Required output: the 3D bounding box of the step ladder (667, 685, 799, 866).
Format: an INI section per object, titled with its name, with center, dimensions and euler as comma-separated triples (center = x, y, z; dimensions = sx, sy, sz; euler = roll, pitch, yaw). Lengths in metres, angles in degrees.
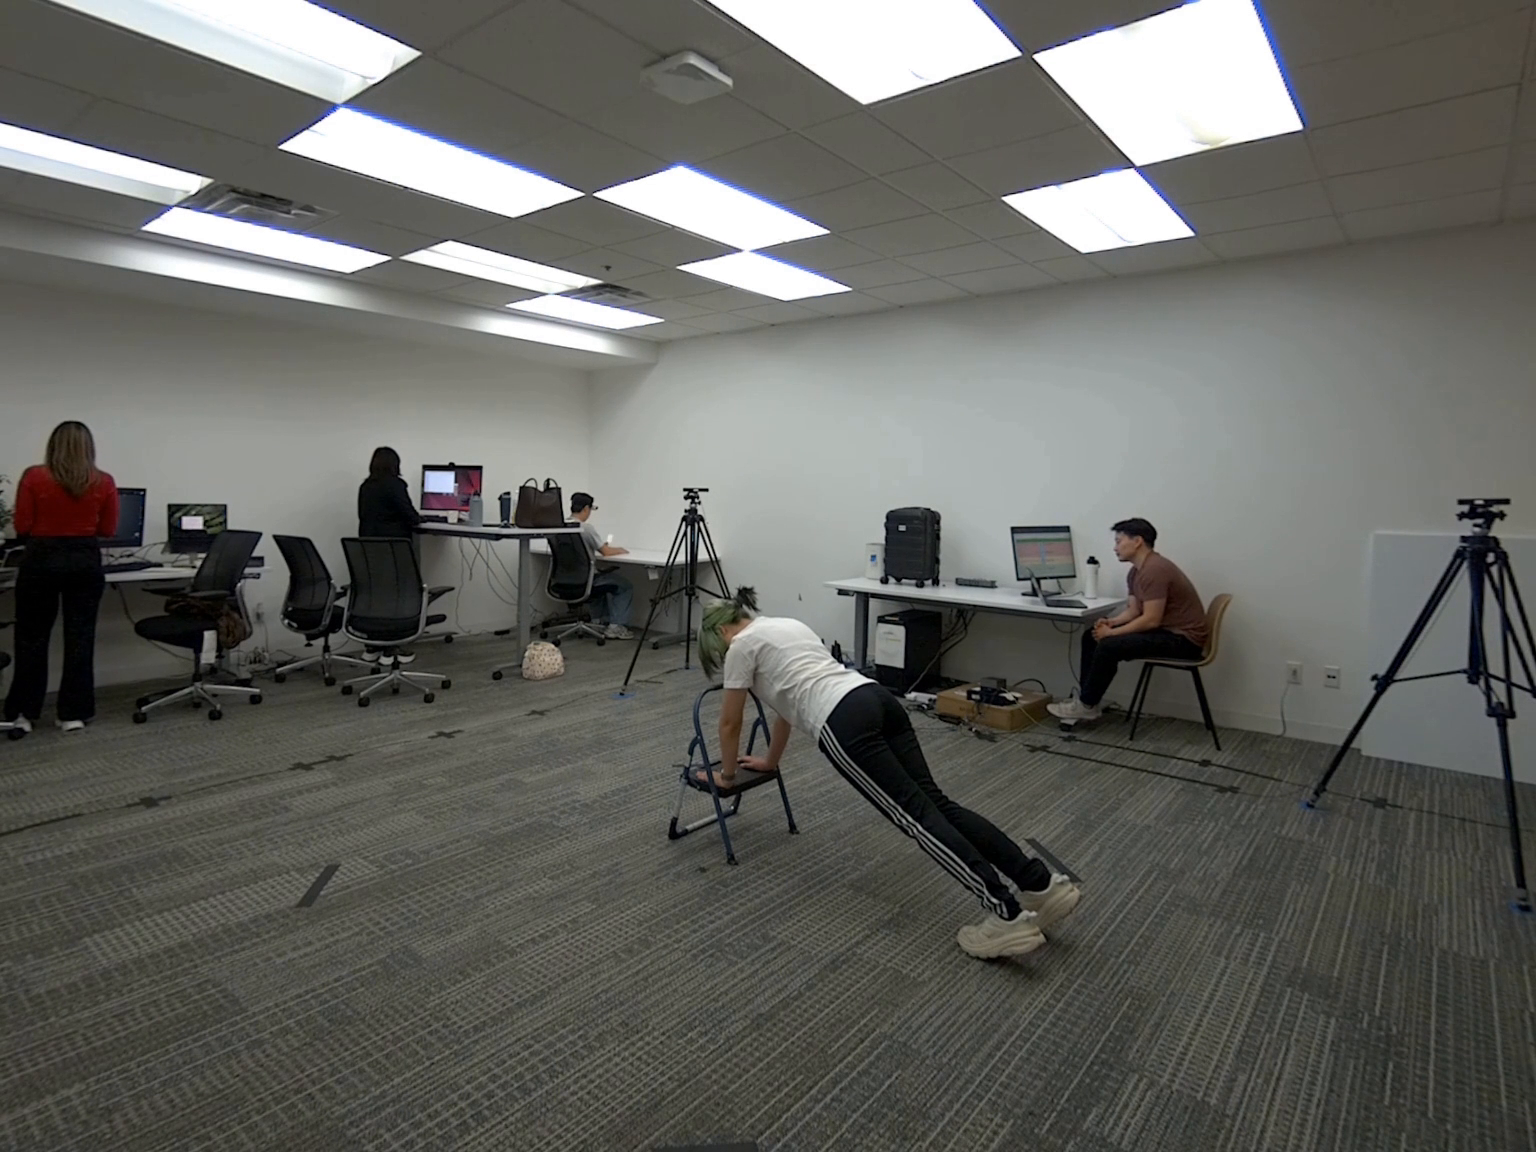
[step ladder]
center = -0.143, 0.740, 3.402
dimensions = 0.361, 0.604, 0.418
euler = 4, 4, 38
